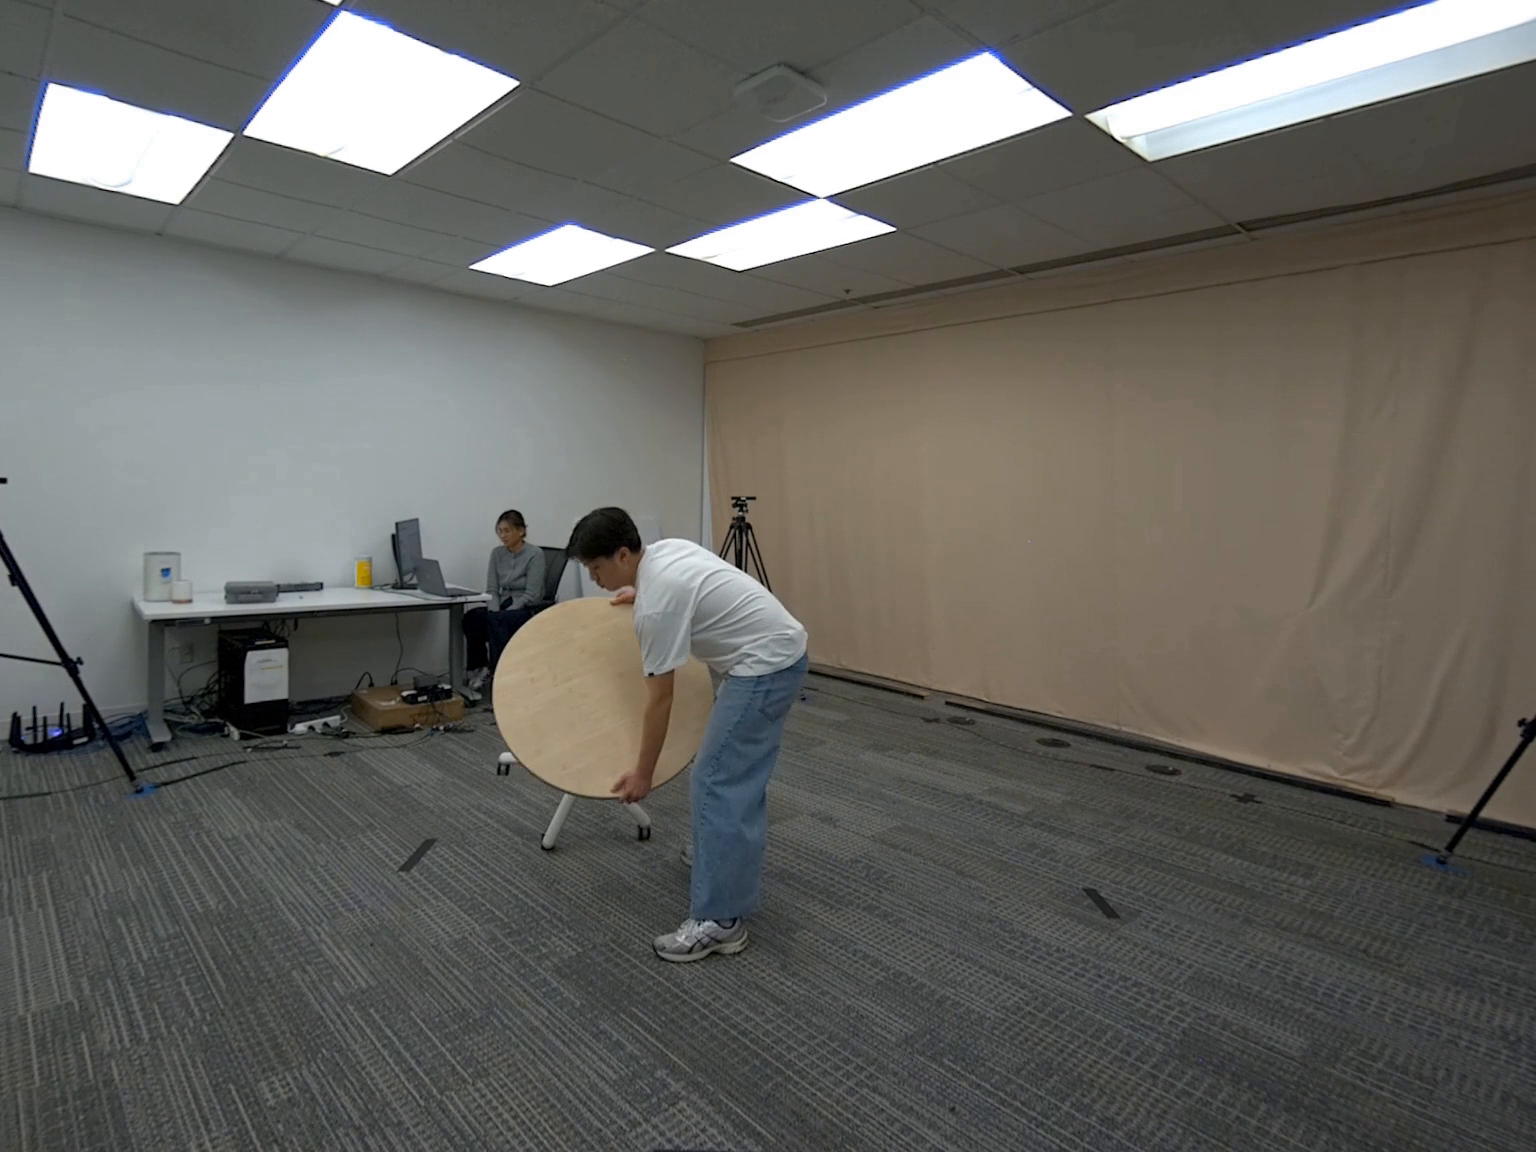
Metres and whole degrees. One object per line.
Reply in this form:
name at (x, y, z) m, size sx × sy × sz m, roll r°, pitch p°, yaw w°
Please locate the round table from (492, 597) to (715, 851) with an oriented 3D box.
round table at (-0.677, 0.621, 3.229) m, size 0.753 × 0.783 × 0.785 m, roll 0°, pitch -36°, yaw -18°
